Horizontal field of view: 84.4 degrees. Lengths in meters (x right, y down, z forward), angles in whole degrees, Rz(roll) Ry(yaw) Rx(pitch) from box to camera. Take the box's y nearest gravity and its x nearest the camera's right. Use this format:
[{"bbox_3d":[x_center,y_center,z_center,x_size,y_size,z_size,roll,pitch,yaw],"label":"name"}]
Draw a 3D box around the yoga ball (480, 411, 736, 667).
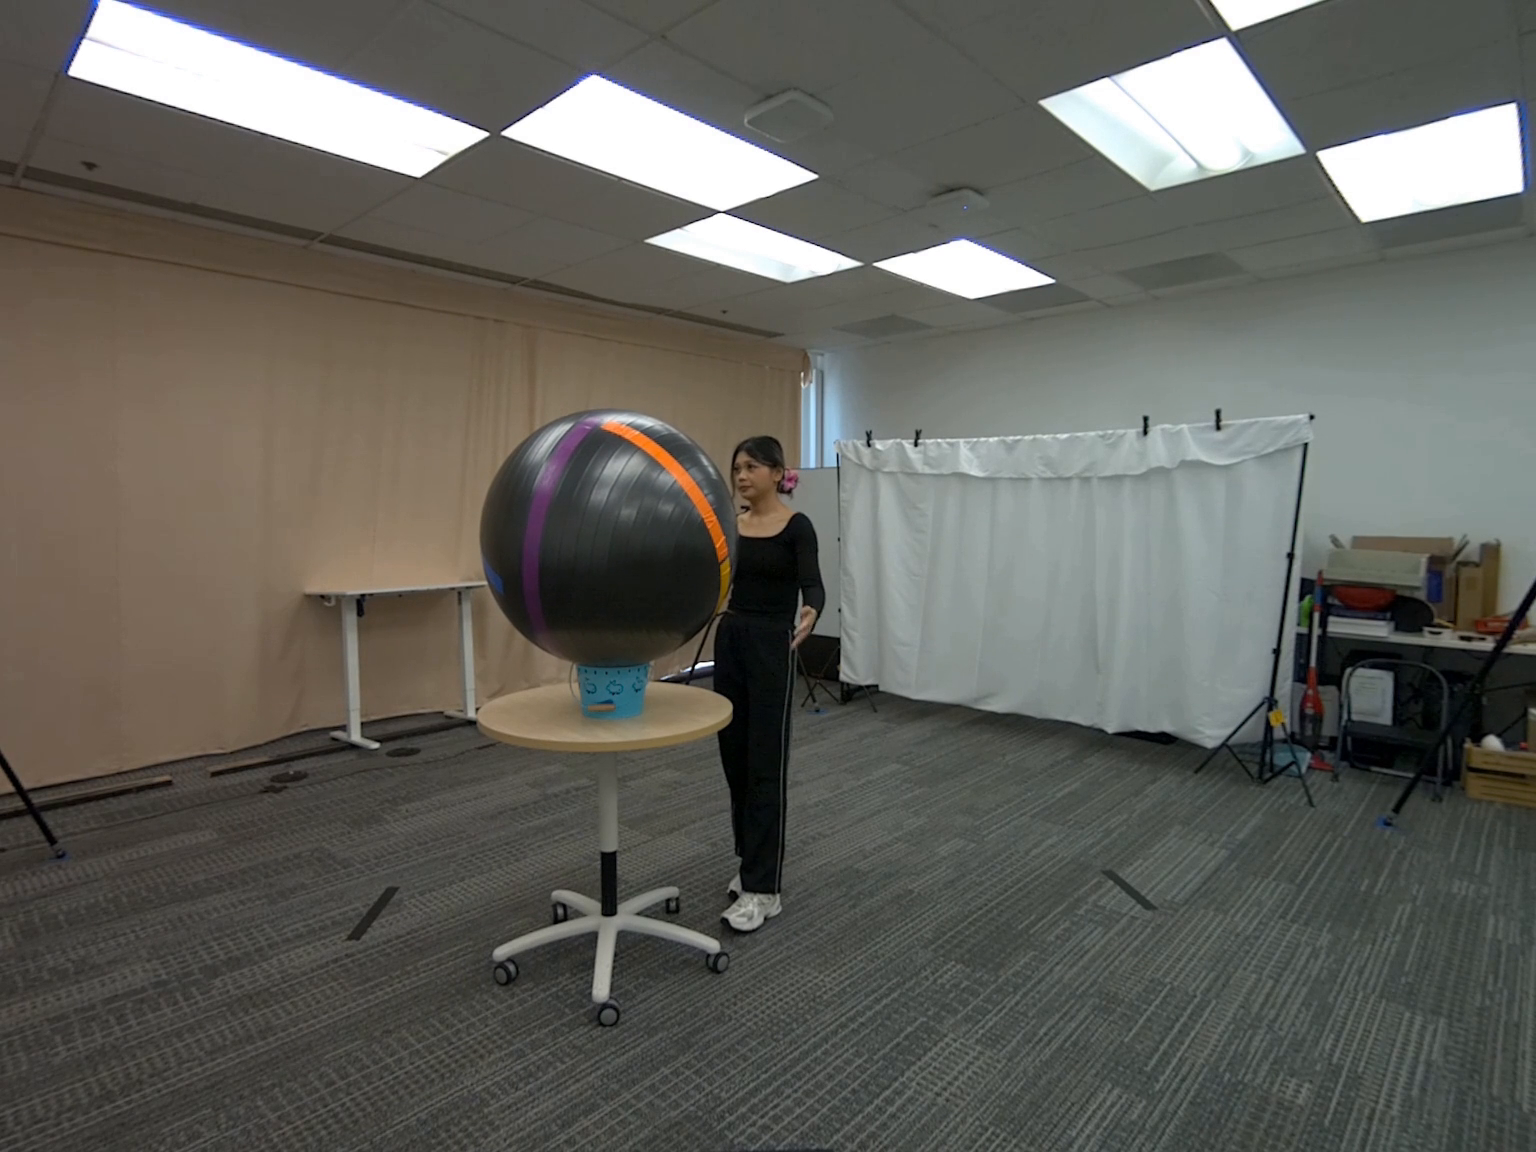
[{"bbox_3d":[-0.468,-0.103,2.484,0.757,0.756,0.760,0,4,-2],"label":"yoga ball"}]
